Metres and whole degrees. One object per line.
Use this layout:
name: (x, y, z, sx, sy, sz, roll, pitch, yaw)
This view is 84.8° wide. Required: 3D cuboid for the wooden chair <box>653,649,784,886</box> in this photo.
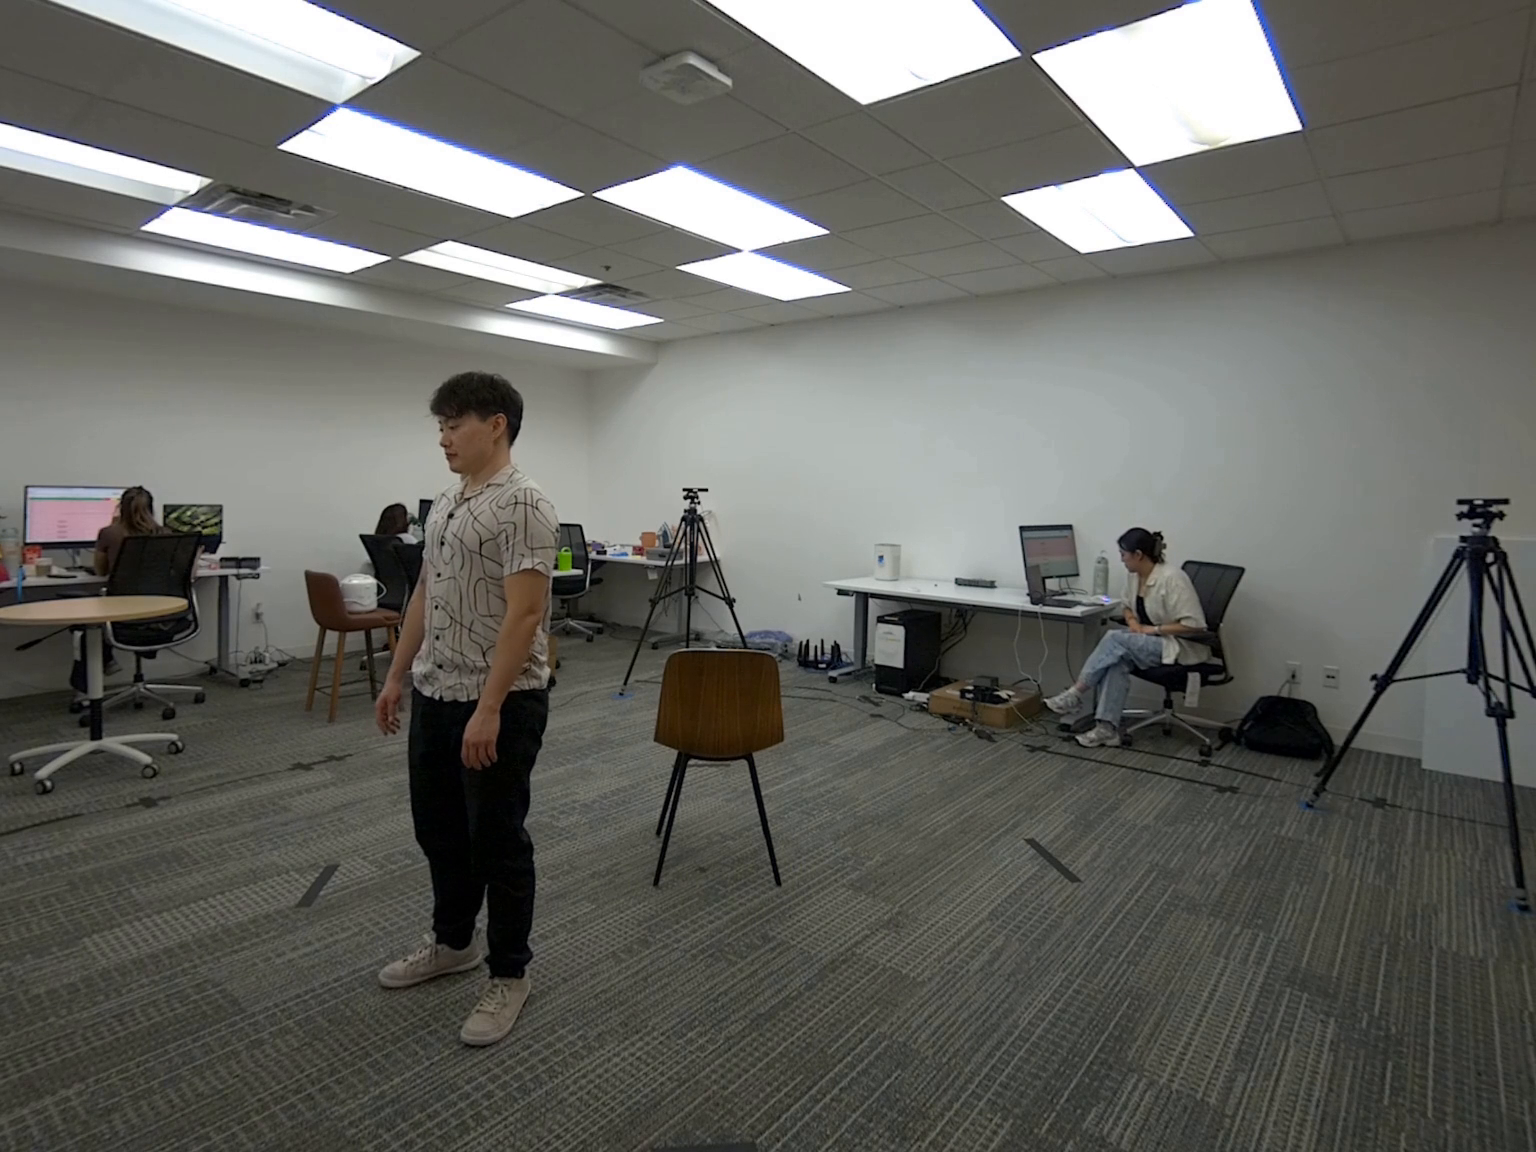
wooden chair: (-0.206, 0.637, 3.180, 0.476, 0.872, 0.529, 1, 7, -6)
